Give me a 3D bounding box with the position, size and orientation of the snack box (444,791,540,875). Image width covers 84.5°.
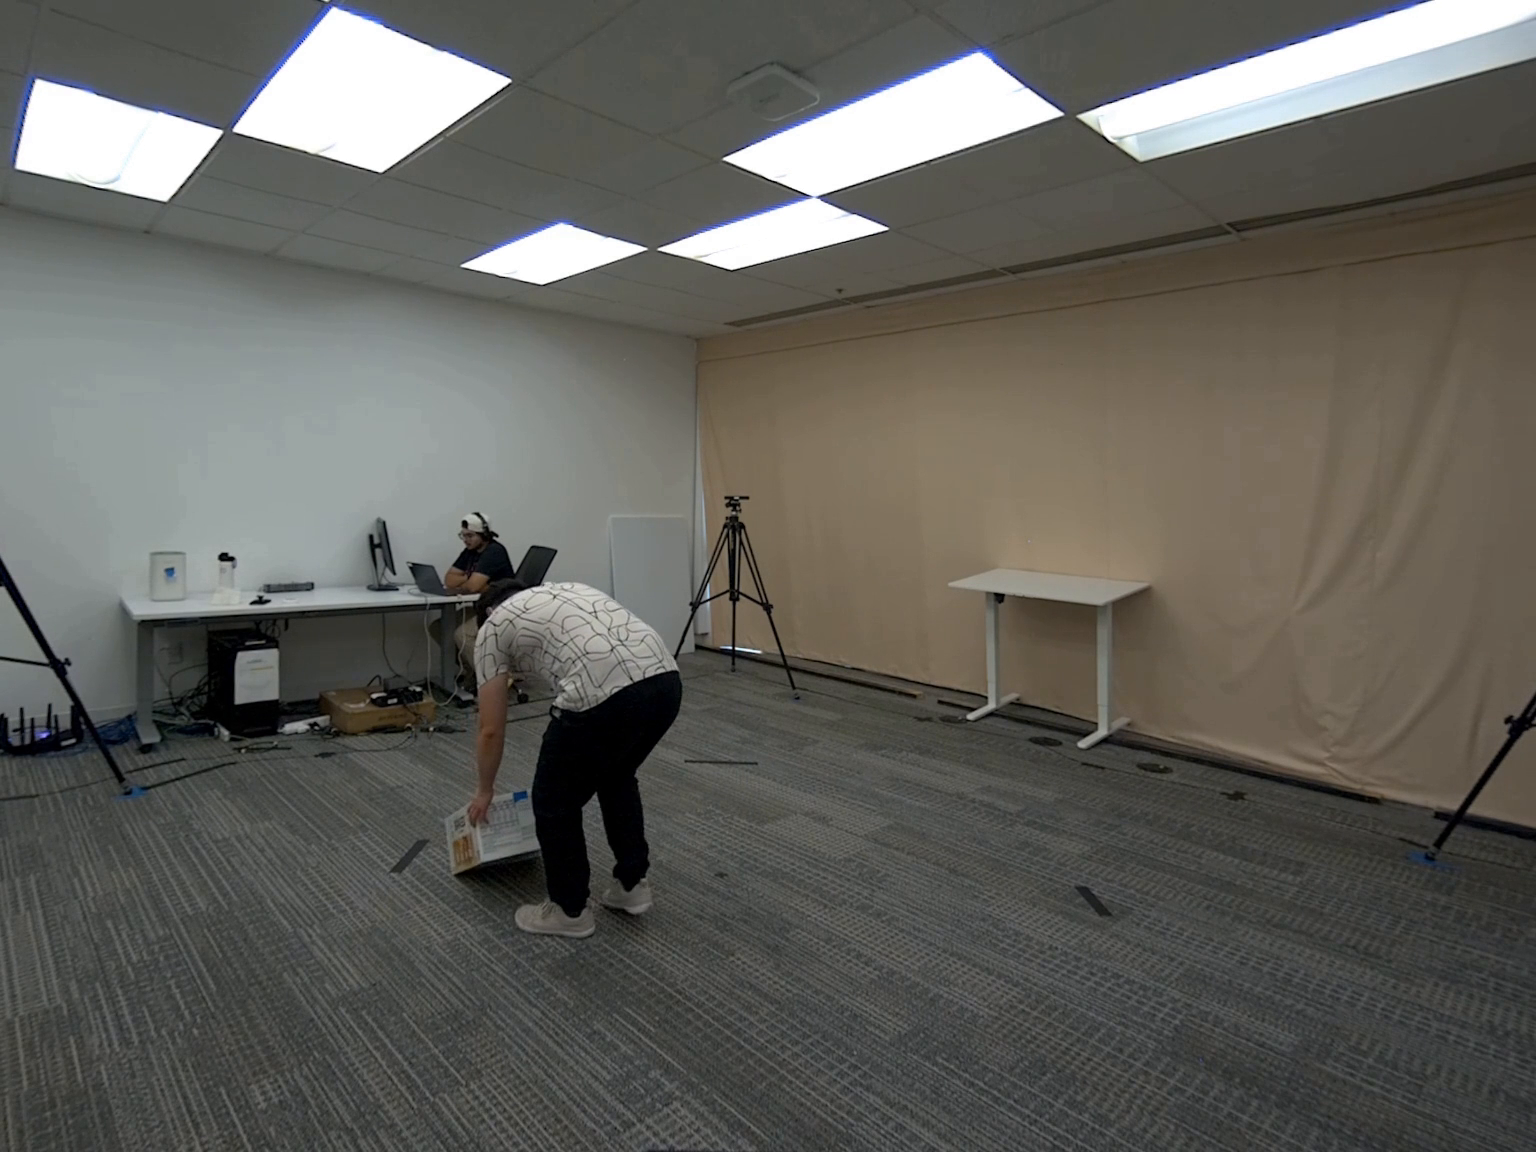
[{"bbox_3d":[-0.938,0.915,3.026,0.333,0.209,0.407,-4,-20,-34],"label":"snack box"}]
